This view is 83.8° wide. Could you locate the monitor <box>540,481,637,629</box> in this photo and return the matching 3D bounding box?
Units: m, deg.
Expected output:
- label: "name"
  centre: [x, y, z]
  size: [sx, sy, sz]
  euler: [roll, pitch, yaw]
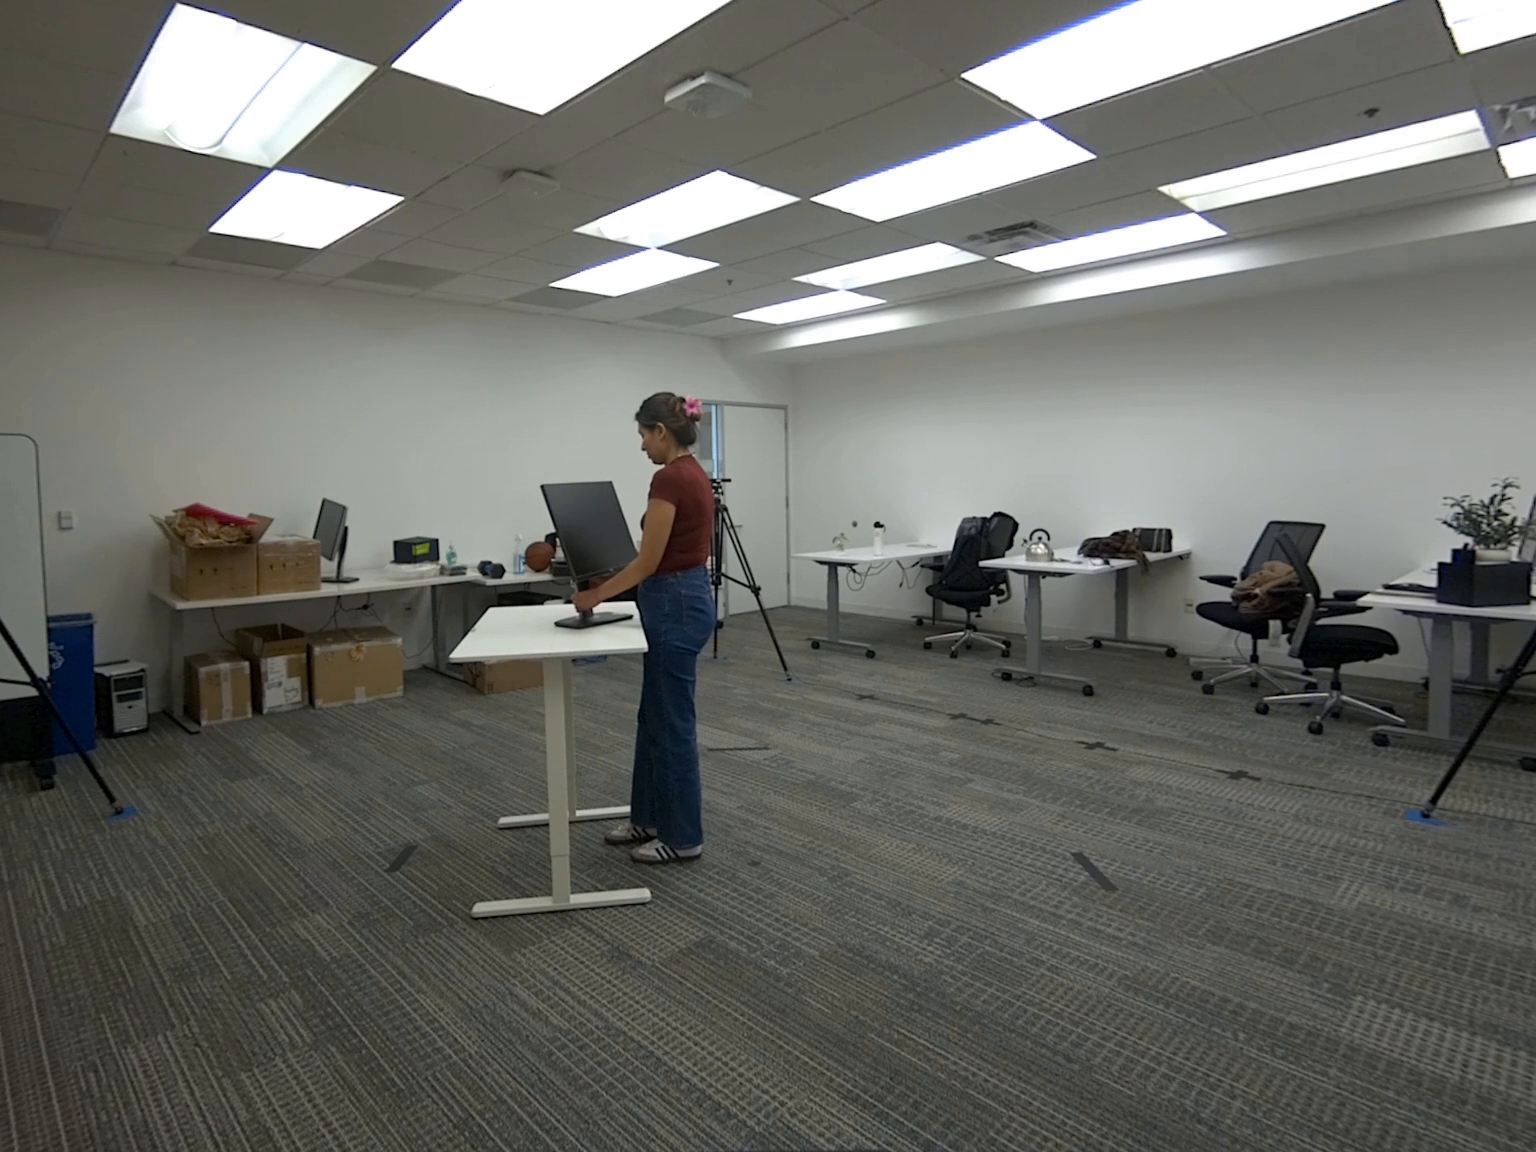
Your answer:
- label: "monitor"
  centre: [-0.663, -0.085, 3.154]
  size: [0.190, 0.521, 0.533]
  euler: [-4, 4, 14]
